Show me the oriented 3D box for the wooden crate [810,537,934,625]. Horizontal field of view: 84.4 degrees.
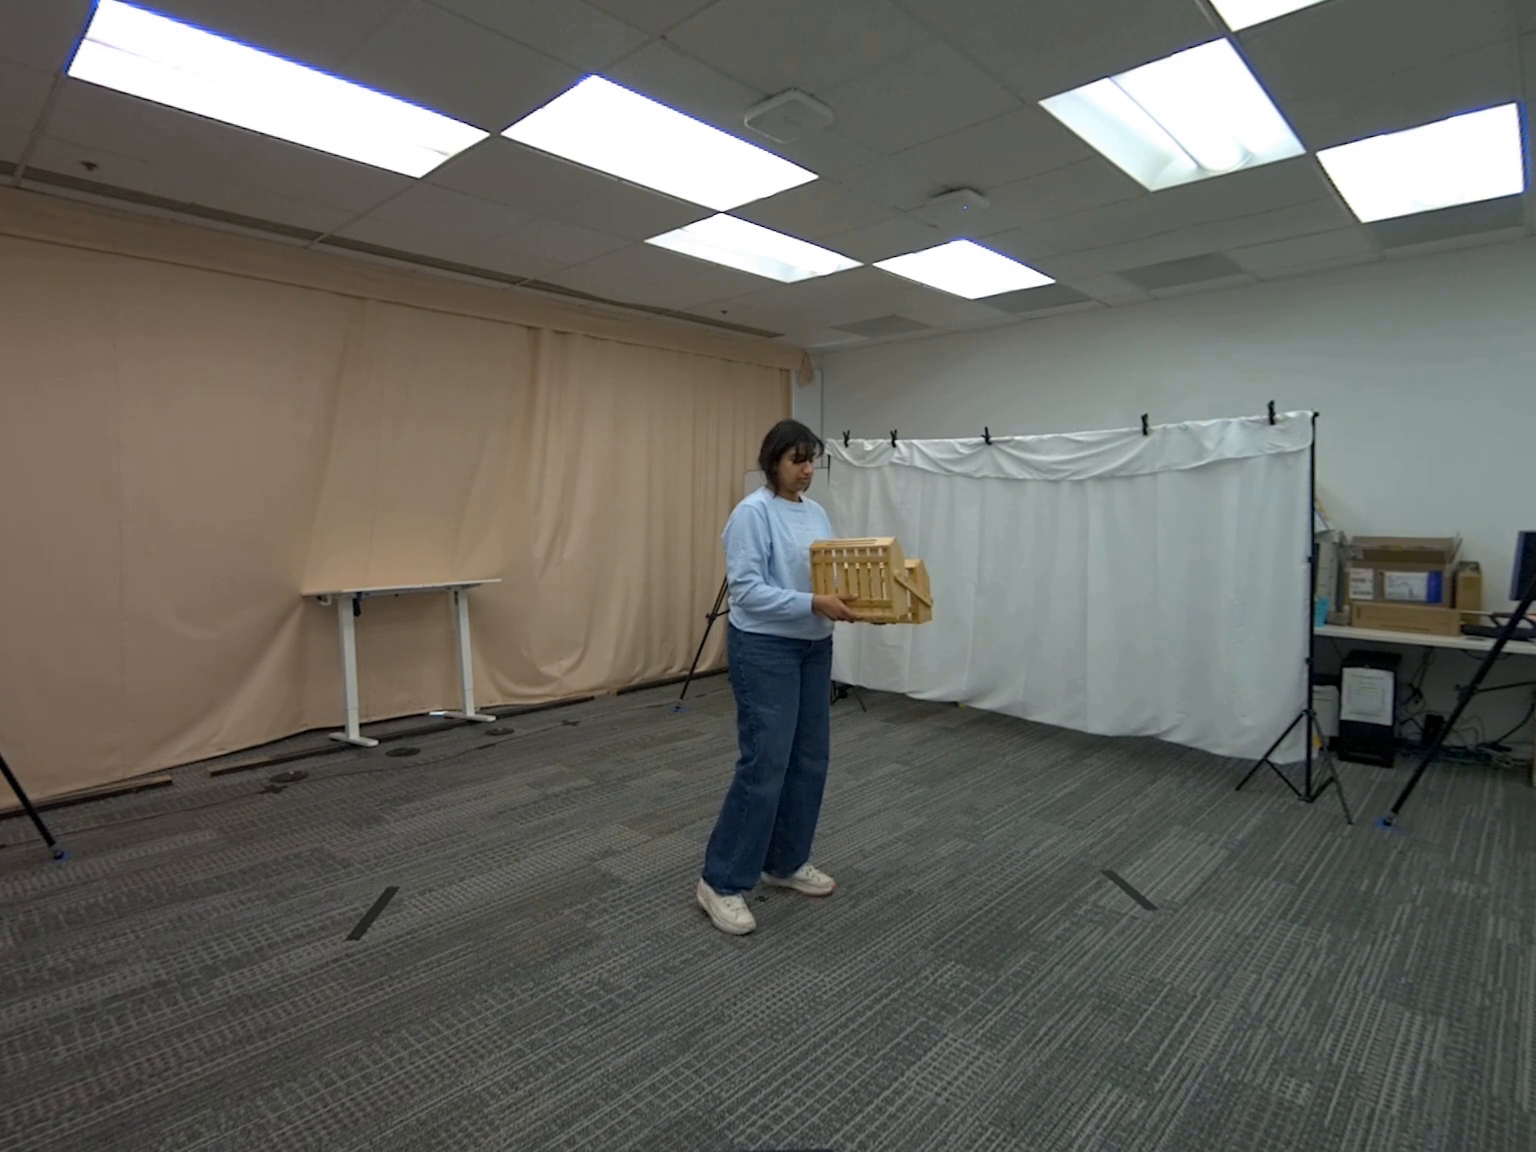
[{"bbox_3d":[0.350,0.014,2.819,0.334,0.301,0.266,-1,6,37],"label":"wooden crate"}]
